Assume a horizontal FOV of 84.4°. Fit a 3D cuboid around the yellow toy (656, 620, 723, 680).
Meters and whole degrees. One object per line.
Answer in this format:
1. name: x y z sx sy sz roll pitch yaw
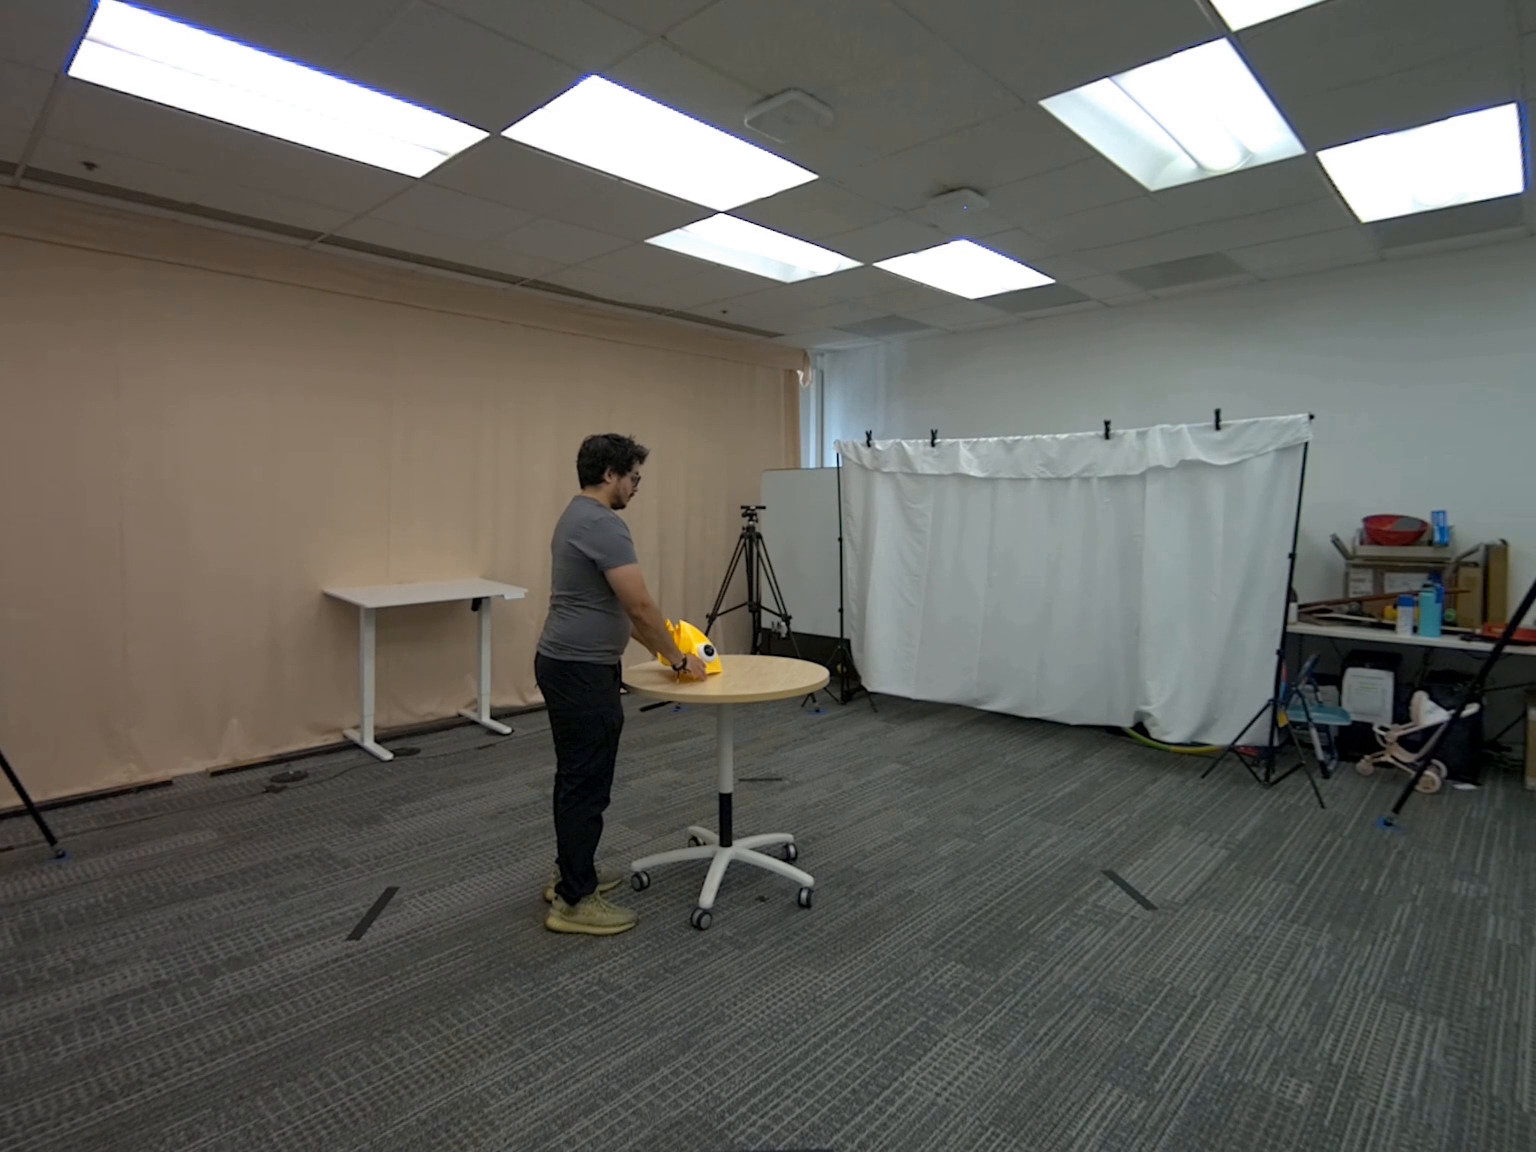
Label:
1. yellow toy: -0.257 0.274 3.048 0.225 0.193 0.210 13 -3 -24
